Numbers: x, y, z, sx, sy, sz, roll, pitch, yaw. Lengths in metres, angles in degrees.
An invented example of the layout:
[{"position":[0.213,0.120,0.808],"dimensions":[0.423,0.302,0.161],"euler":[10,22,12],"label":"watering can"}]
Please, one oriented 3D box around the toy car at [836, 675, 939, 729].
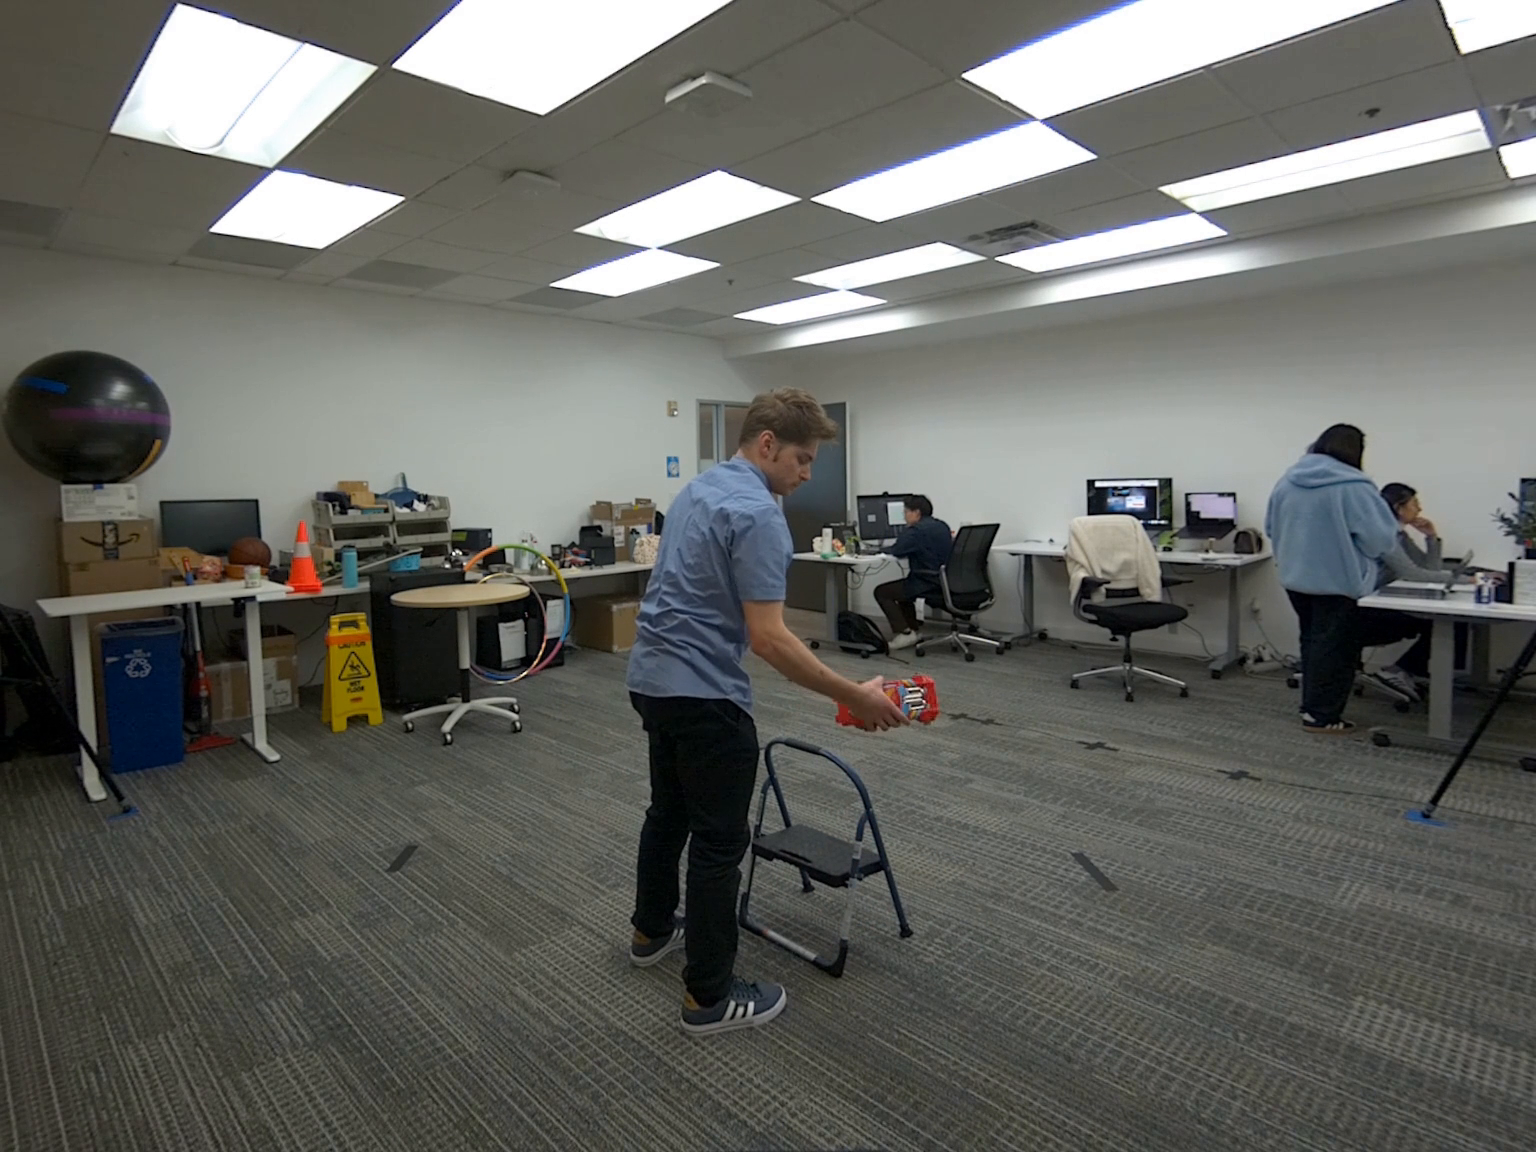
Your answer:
[{"position":[0.292,0.323,2.133],"dimensions":[0.256,0.132,0.082],"euler":[-7,-14,5],"label":"toy car"}]
